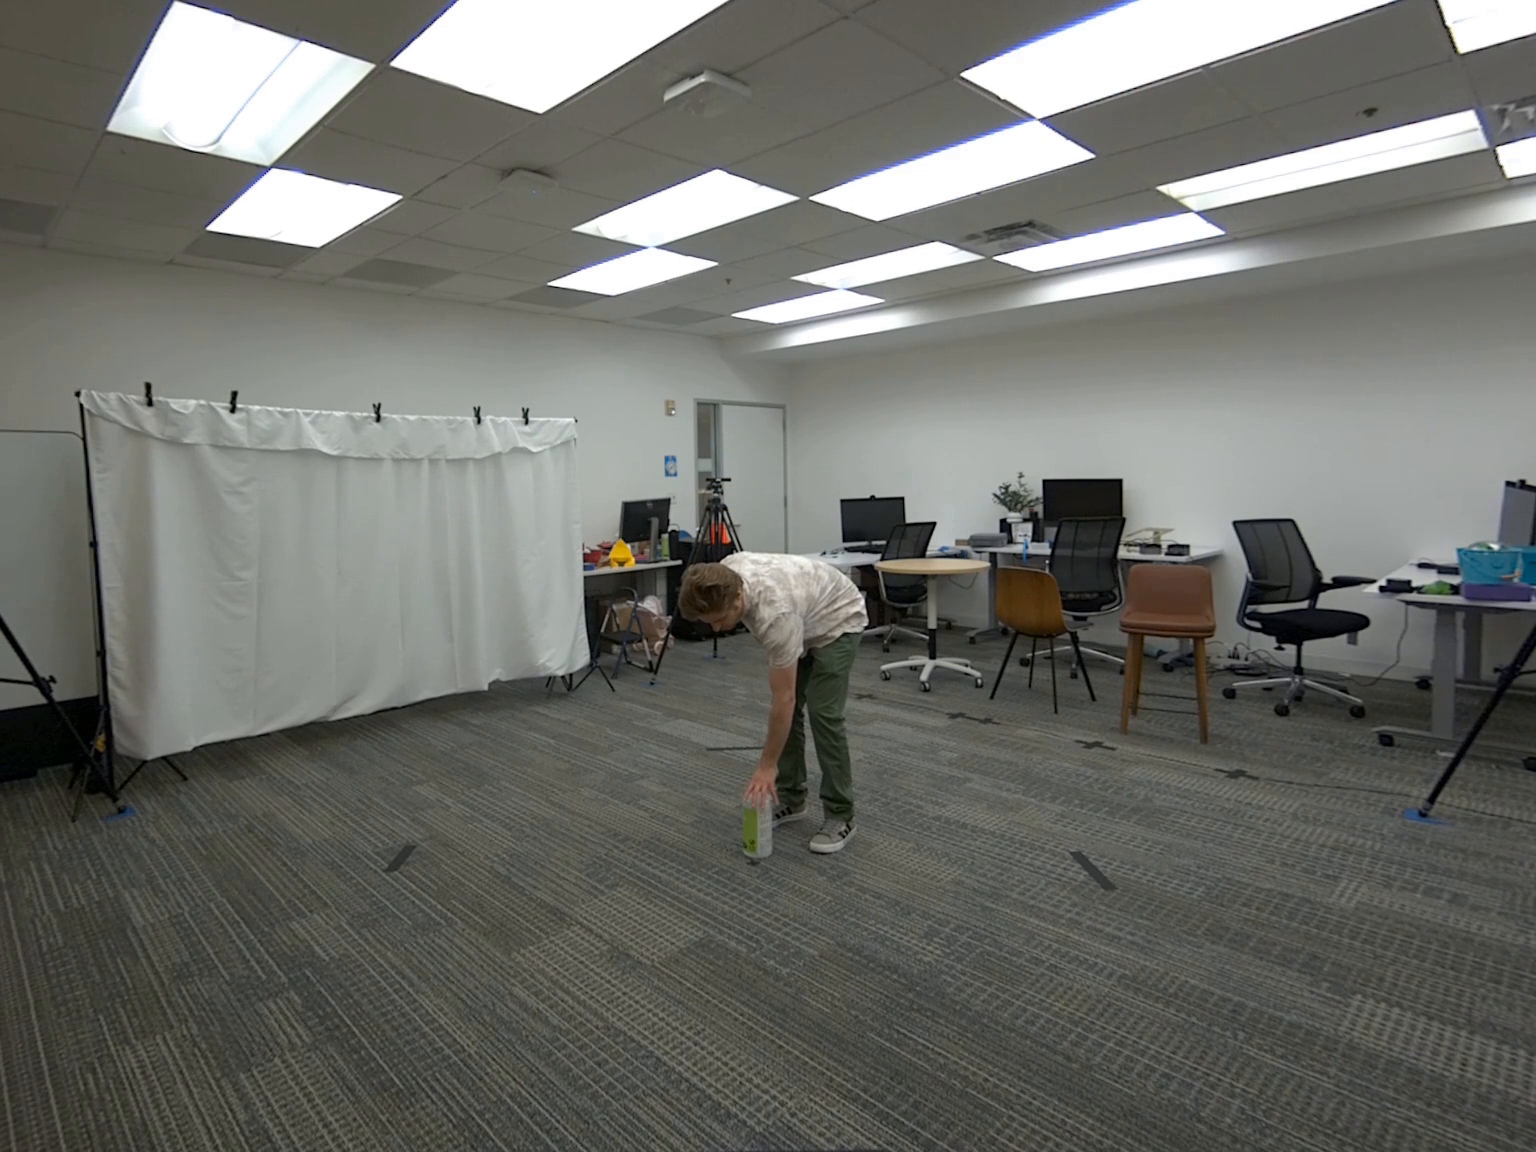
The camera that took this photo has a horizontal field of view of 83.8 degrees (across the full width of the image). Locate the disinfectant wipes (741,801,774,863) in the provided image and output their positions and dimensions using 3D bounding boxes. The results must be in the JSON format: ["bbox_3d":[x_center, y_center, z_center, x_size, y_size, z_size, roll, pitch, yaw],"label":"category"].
[{"bbox_3d":[-0.035,0.933,3.185,0.118,0.217,0.118,0,4,-2],"label":"disinfectant wipes"}]
